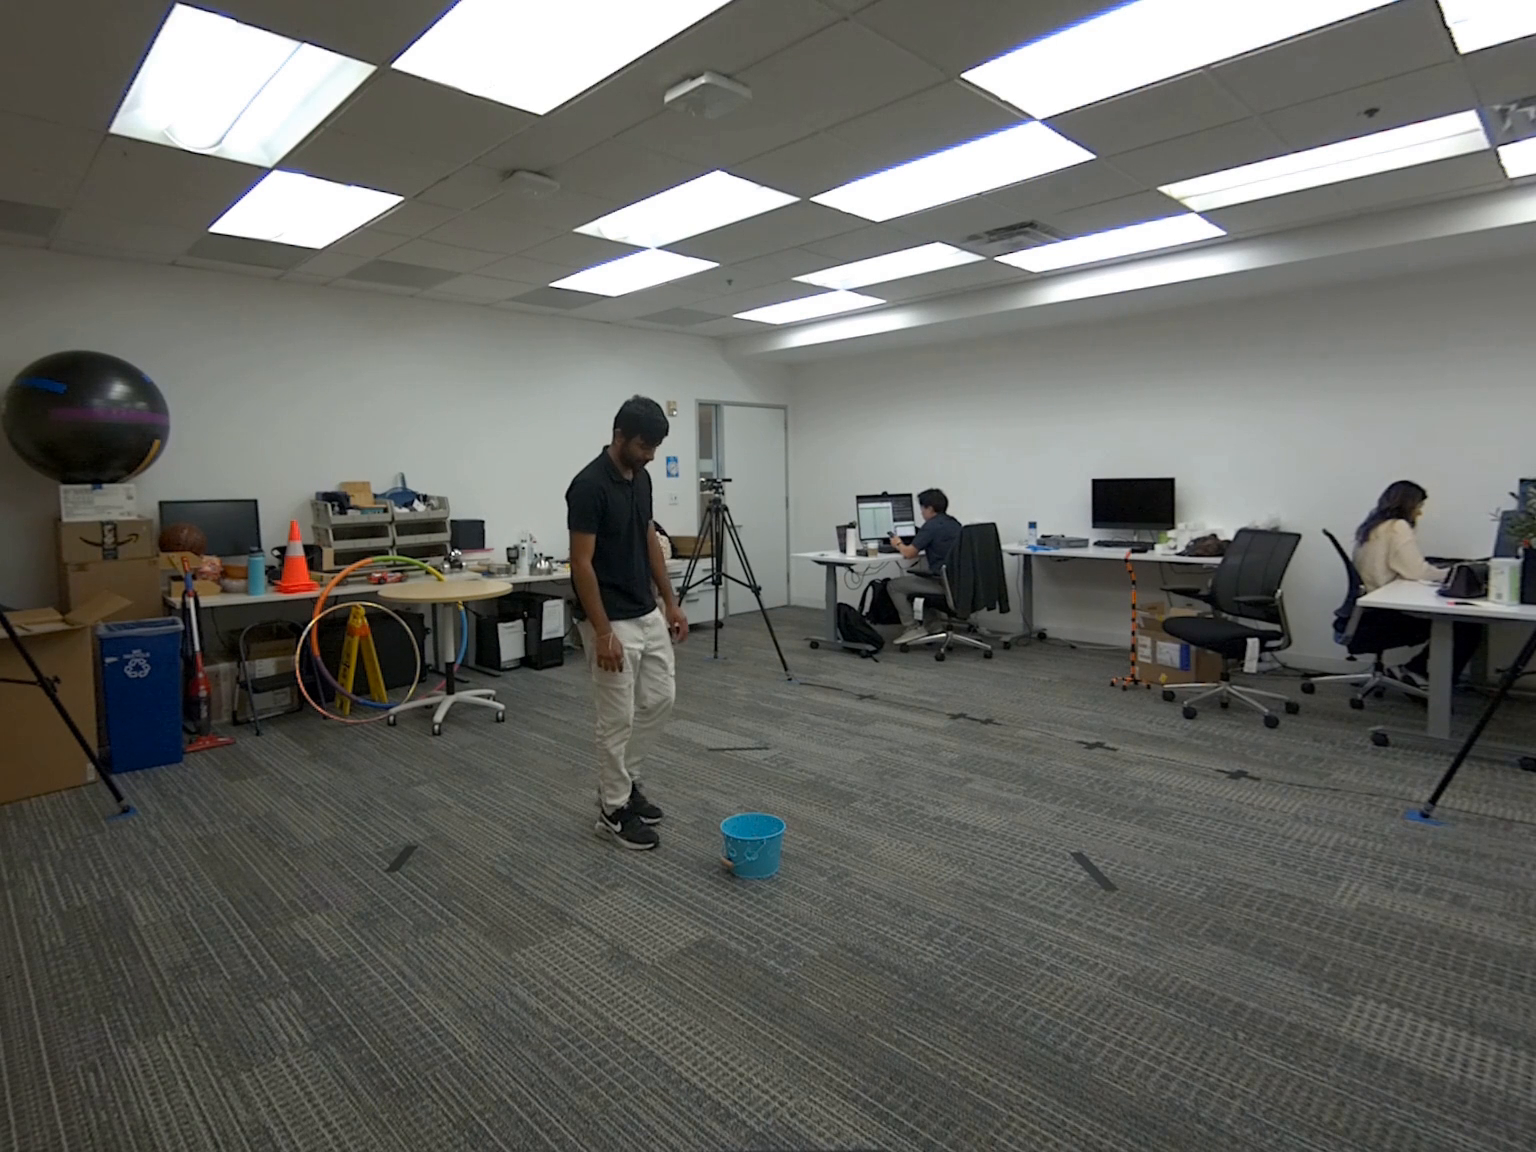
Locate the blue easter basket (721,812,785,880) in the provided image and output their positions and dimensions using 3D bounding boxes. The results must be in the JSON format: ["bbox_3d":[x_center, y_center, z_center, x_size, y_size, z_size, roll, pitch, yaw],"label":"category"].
[{"bbox_3d":[-0.055,0.965,3.073,0.243,0.155,0.245,-1,5,-2],"label":"blue easter basket"}]
